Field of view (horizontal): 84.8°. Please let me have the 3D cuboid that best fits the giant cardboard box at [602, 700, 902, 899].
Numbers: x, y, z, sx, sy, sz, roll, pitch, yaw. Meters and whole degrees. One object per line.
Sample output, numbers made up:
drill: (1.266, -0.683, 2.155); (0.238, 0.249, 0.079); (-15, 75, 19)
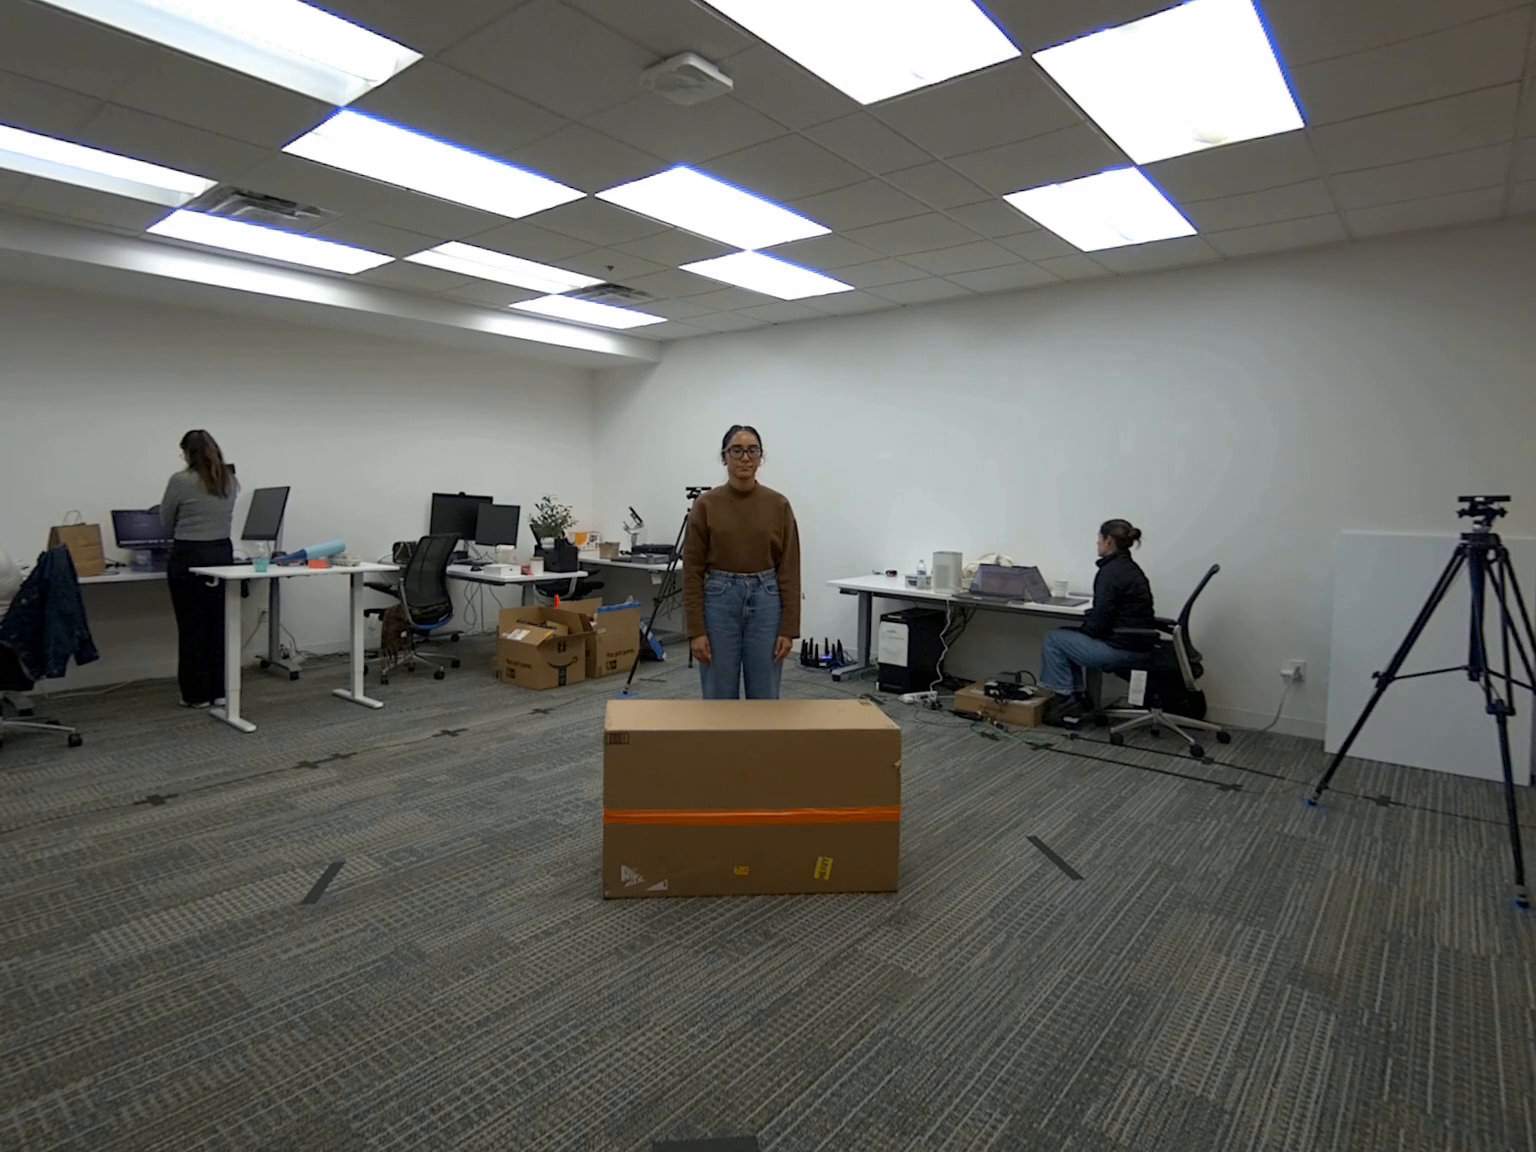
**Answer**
giant cardboard box: (-0.086, 0.783, 3.090); (1.019, 0.576, 0.430); (1, 4, -6)
